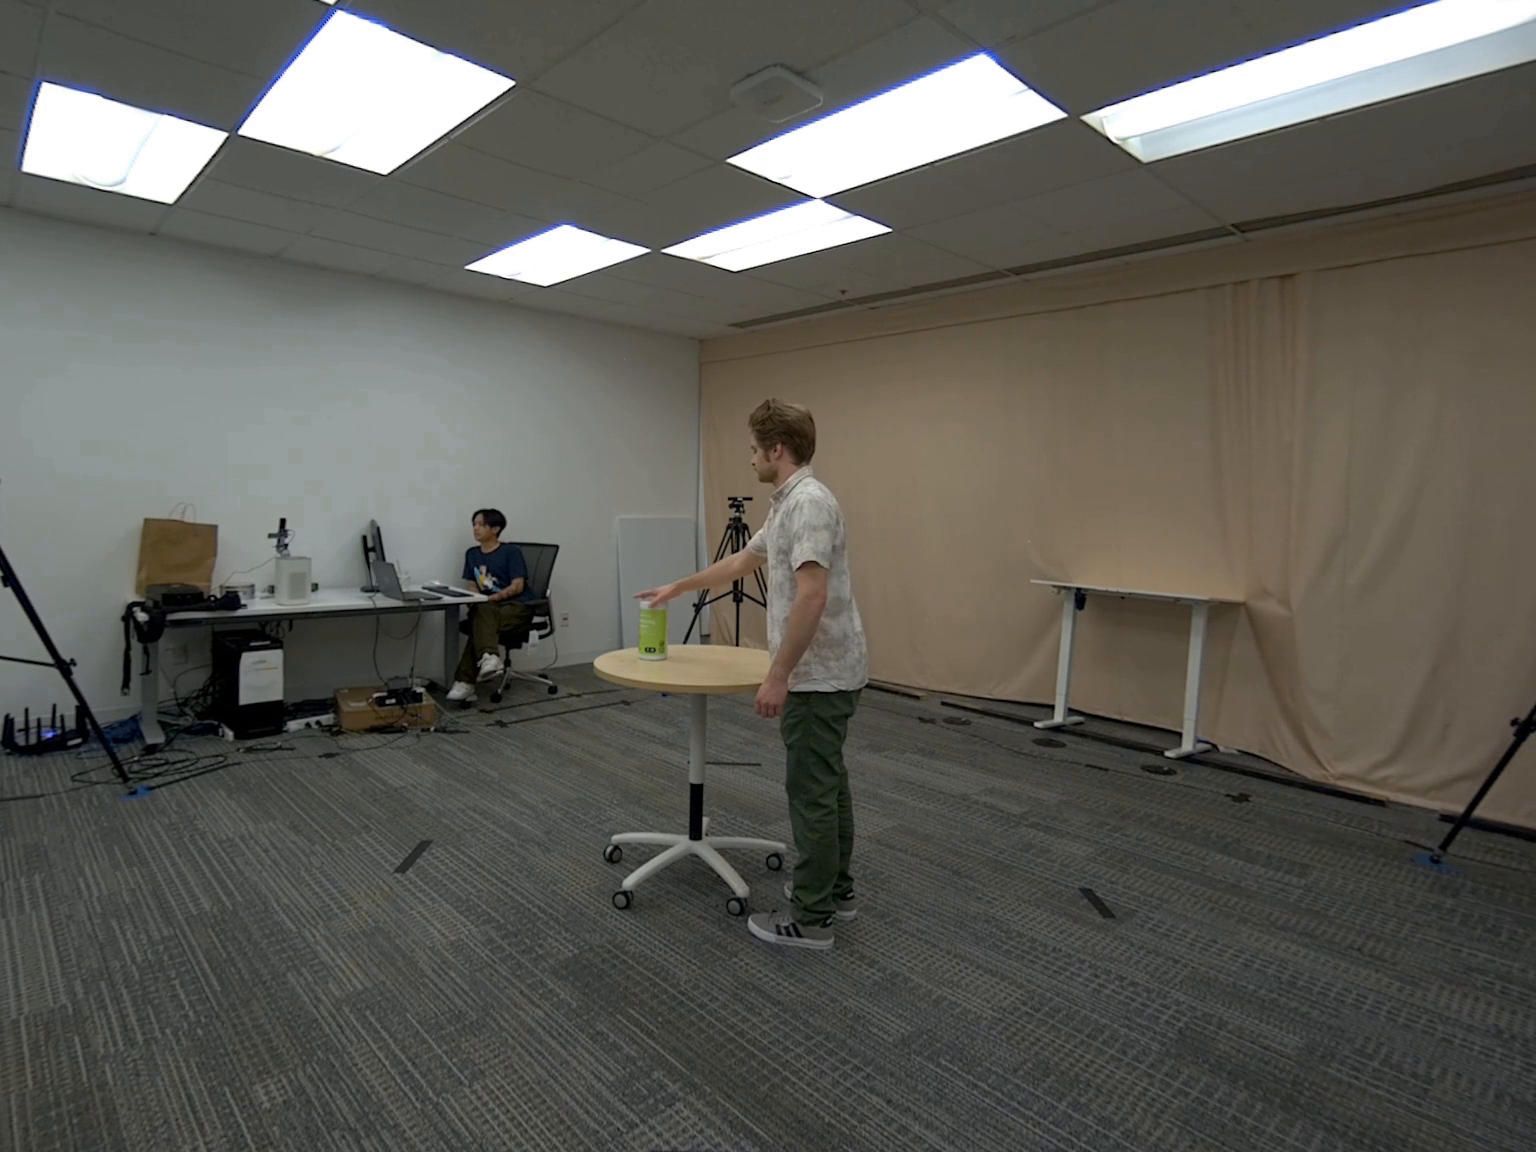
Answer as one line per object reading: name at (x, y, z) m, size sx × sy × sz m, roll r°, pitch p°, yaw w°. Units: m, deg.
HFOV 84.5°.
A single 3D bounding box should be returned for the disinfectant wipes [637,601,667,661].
disinfectant wipes at (-0.430, 0.199, 3.121) m, size 0.118 × 0.217 × 0.118 m, roll 2°, pitch 3°, yaw -2°
